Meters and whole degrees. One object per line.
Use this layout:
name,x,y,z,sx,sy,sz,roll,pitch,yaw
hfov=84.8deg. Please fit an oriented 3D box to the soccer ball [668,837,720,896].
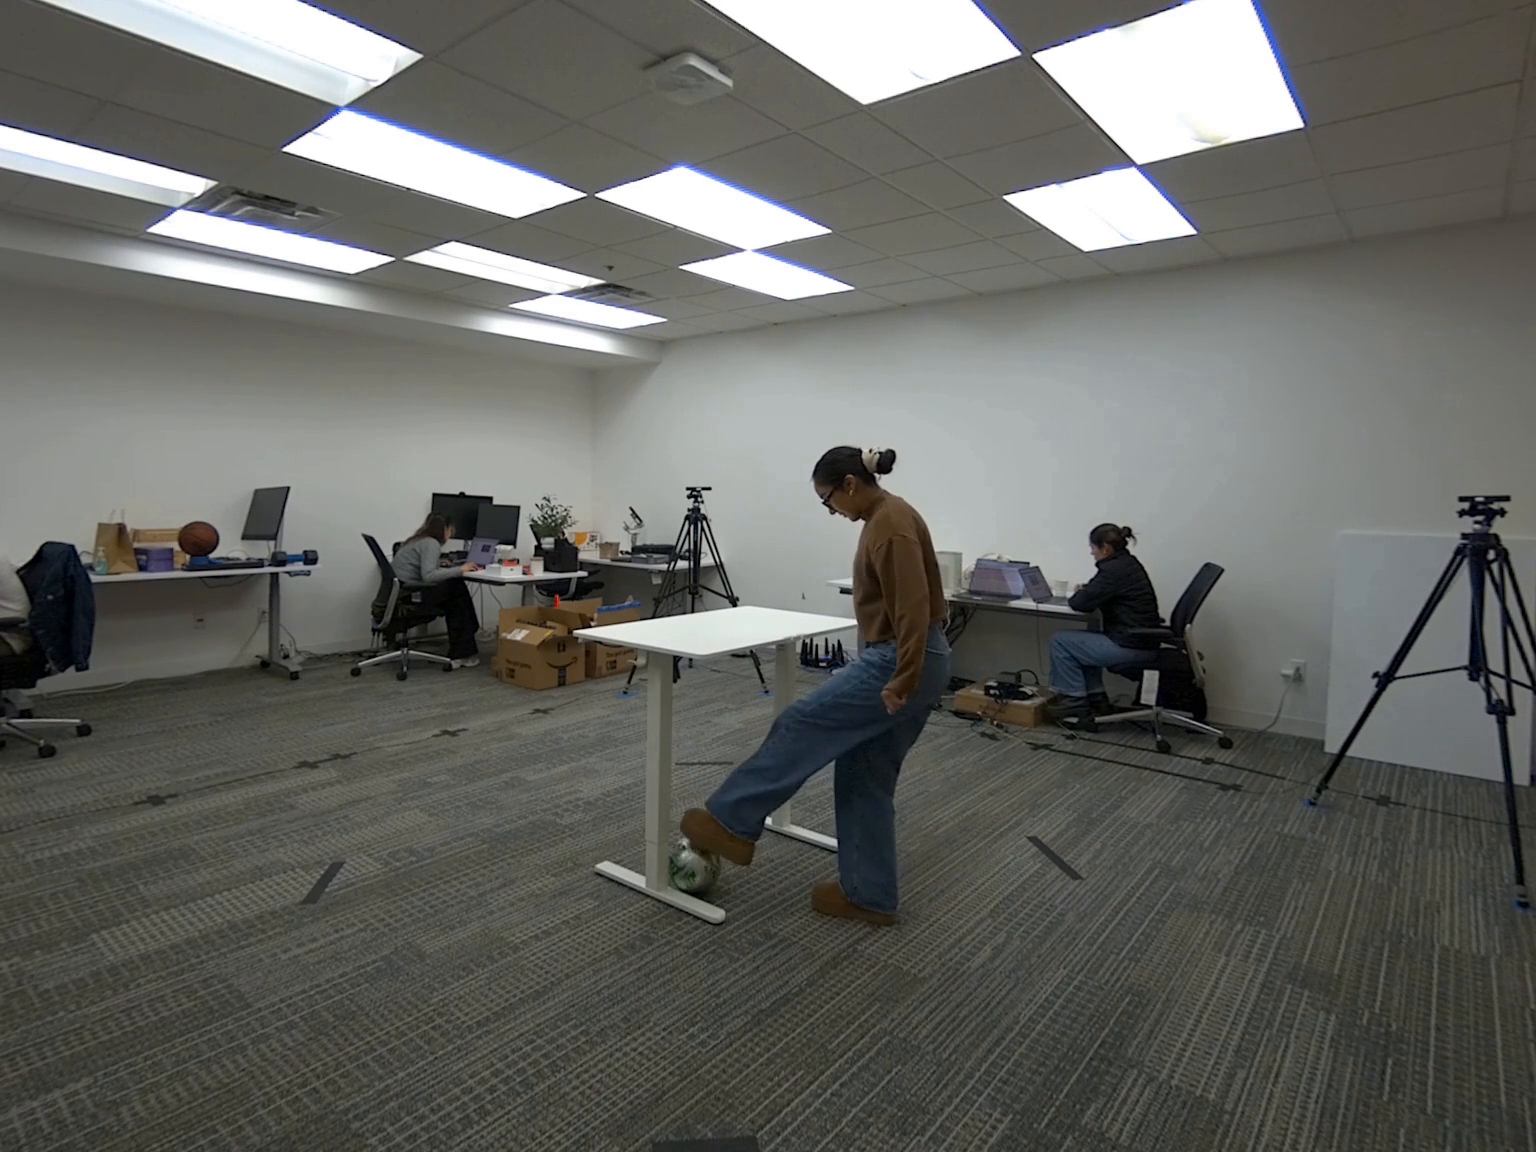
soccer ball,-0.237,0.996,2.909,0.187,0.187,0.188,1,4,-2
